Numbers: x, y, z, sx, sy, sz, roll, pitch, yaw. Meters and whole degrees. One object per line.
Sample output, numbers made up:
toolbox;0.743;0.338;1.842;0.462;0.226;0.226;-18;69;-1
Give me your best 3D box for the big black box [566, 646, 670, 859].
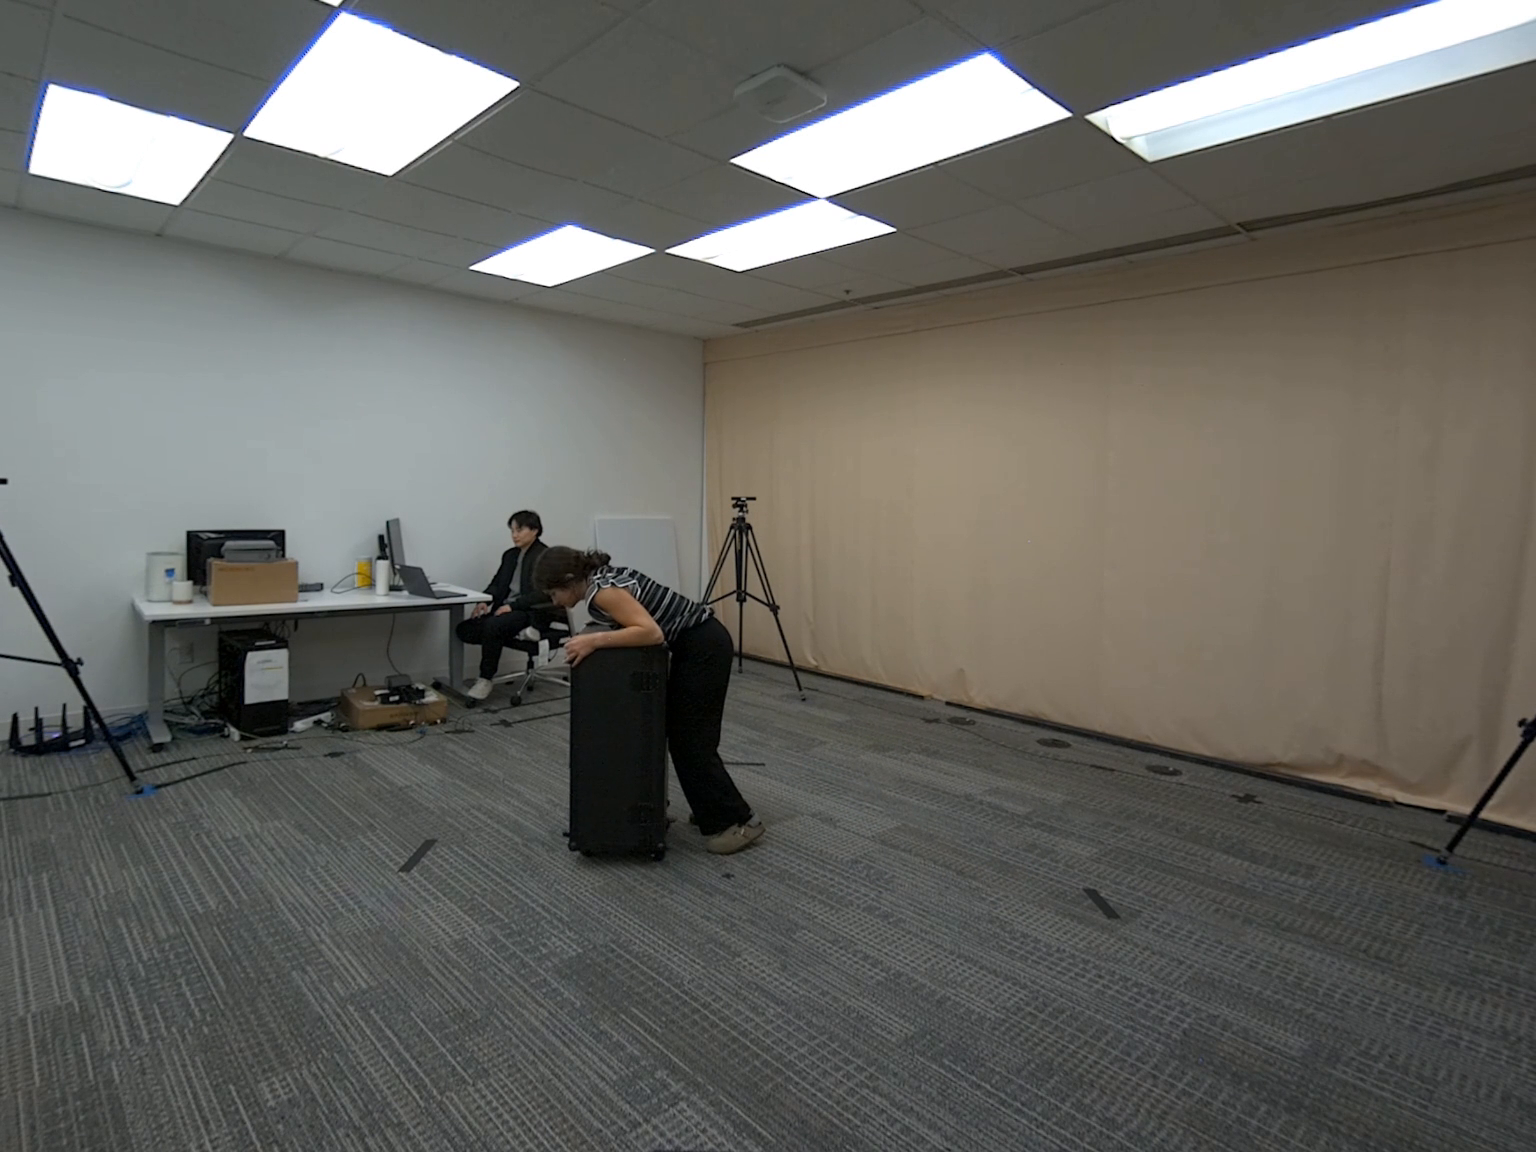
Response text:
big black box;-0.596;0.657;3.337;0.395;0.859;0.524;0;4;-3
